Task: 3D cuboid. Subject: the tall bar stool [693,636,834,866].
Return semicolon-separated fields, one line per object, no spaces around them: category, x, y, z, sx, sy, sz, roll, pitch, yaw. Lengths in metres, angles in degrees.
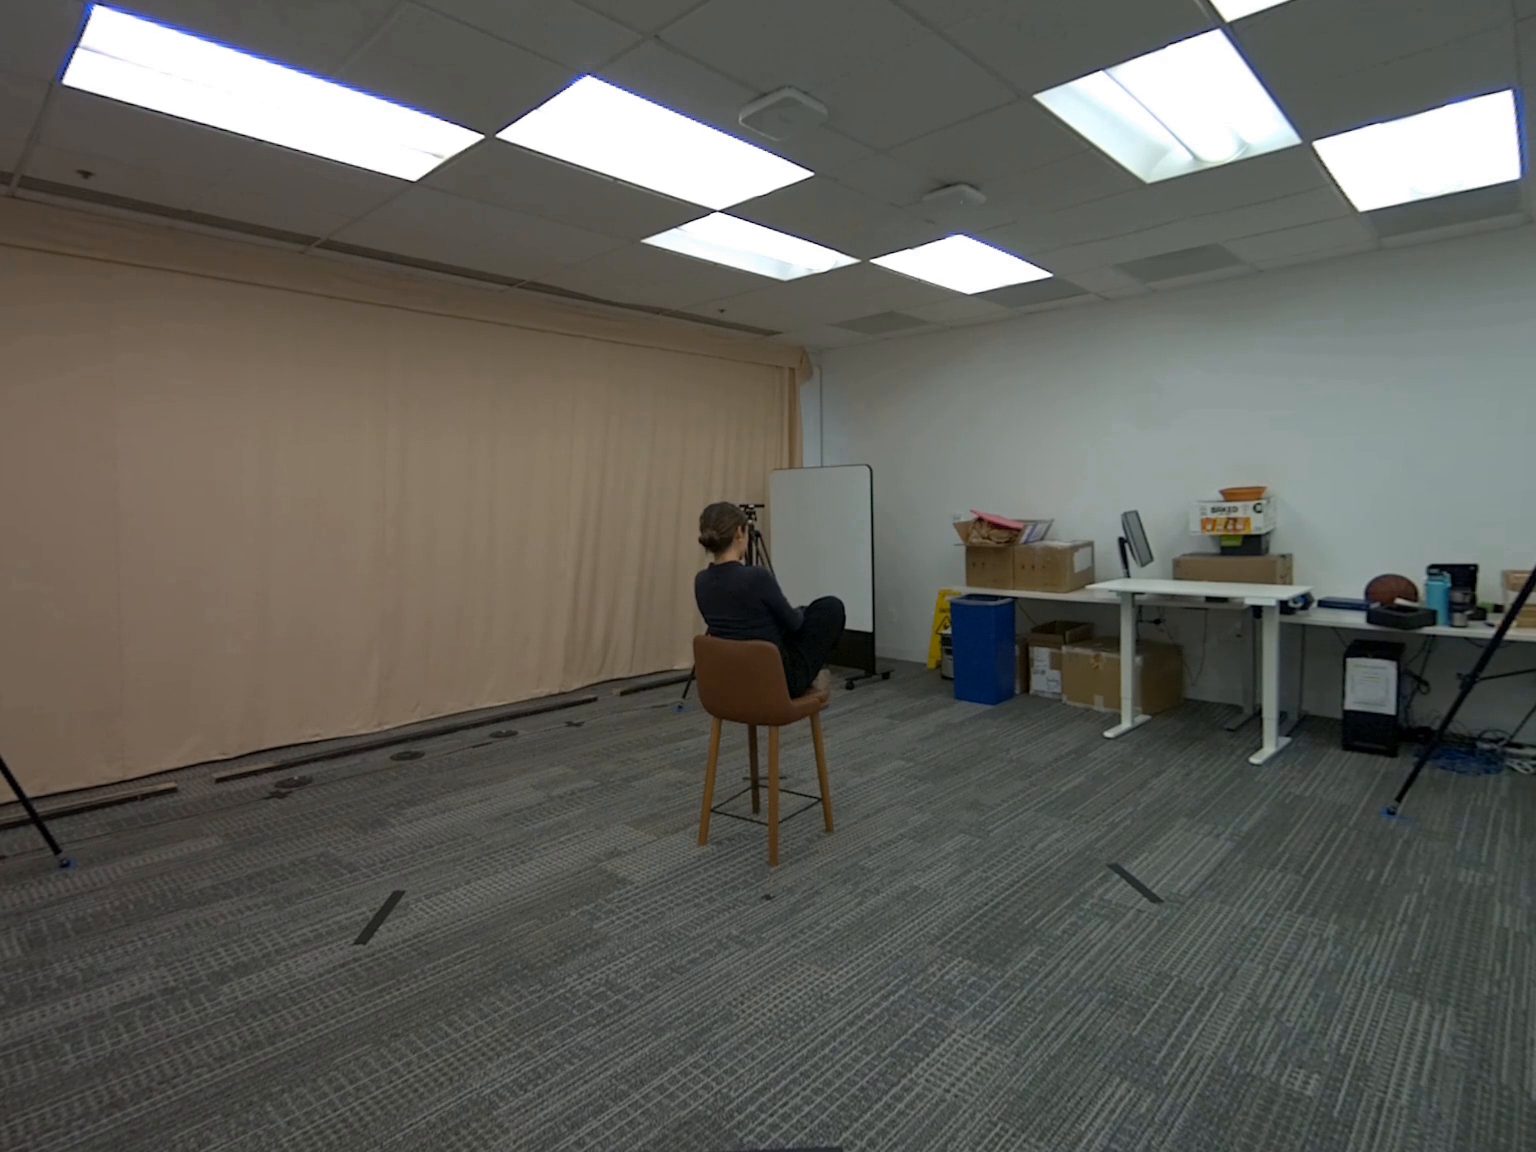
tall bar stool;-0.024;0.662;3.497;0.471;0.887;0.455;1;5;35
